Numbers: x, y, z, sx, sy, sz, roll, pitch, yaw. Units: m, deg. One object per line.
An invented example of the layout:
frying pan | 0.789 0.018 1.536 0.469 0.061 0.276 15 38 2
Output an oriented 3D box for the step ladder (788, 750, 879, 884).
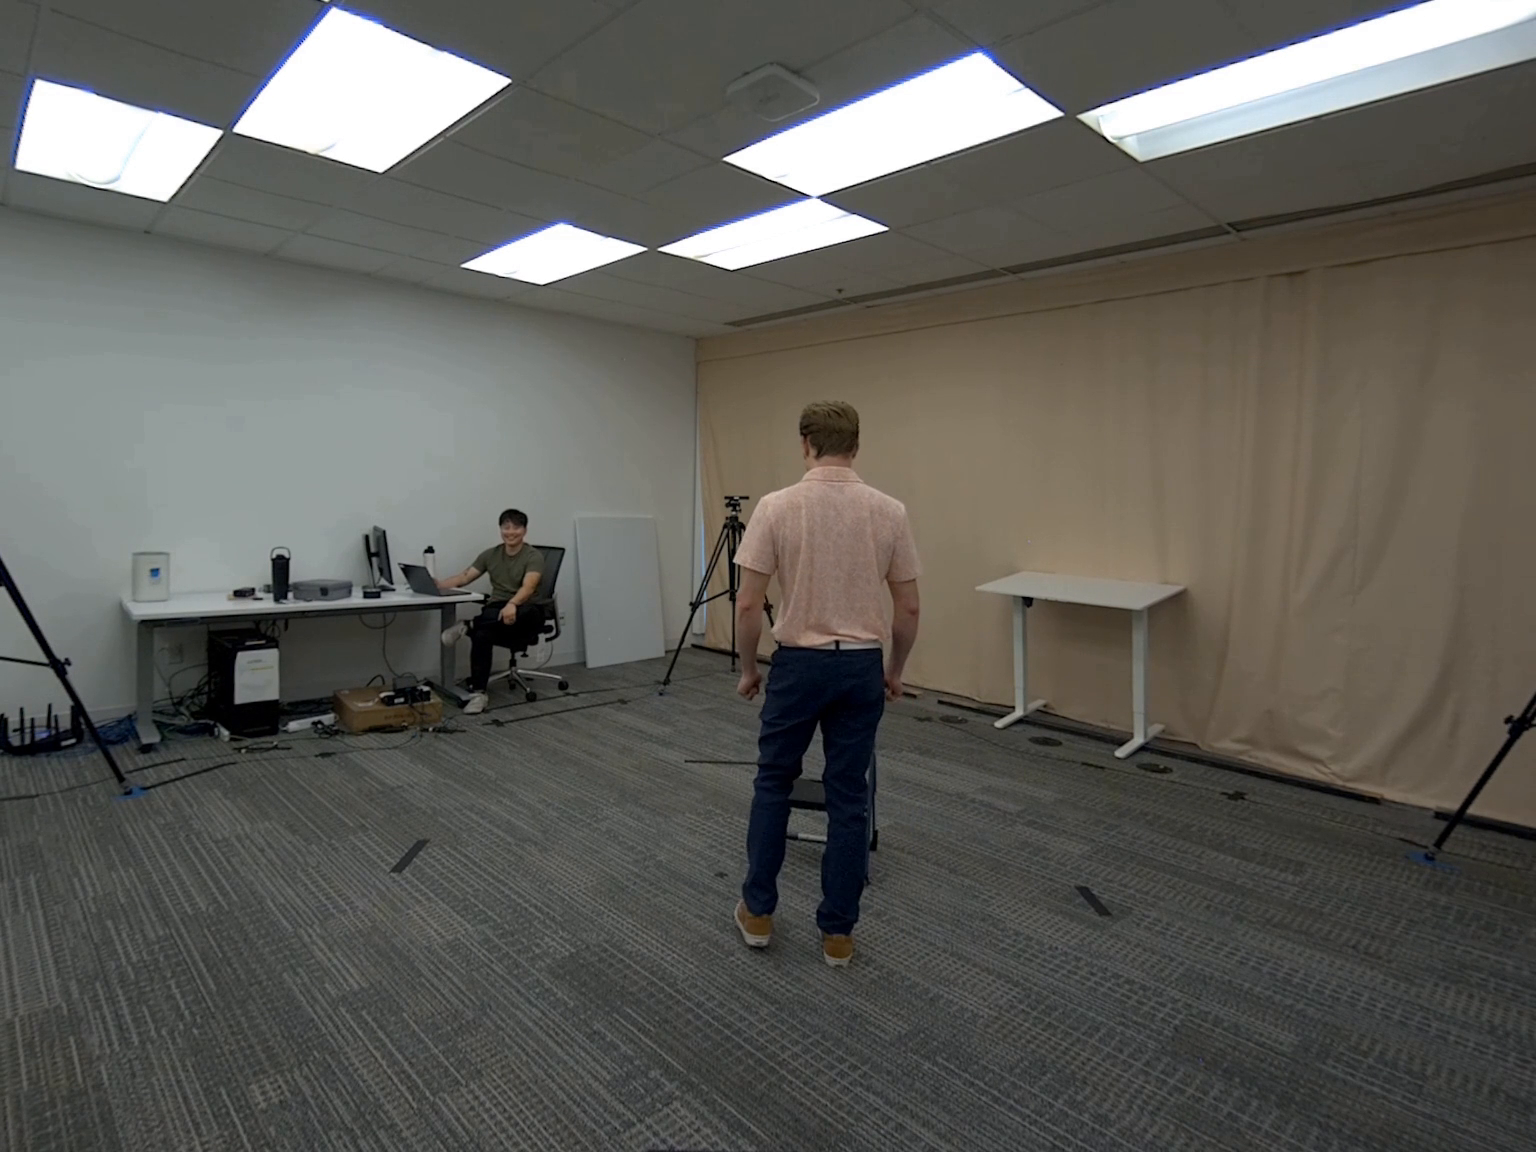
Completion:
step ladder | 0.203 0.799 3.256 0.436 0.605 0.345 3 3 16
